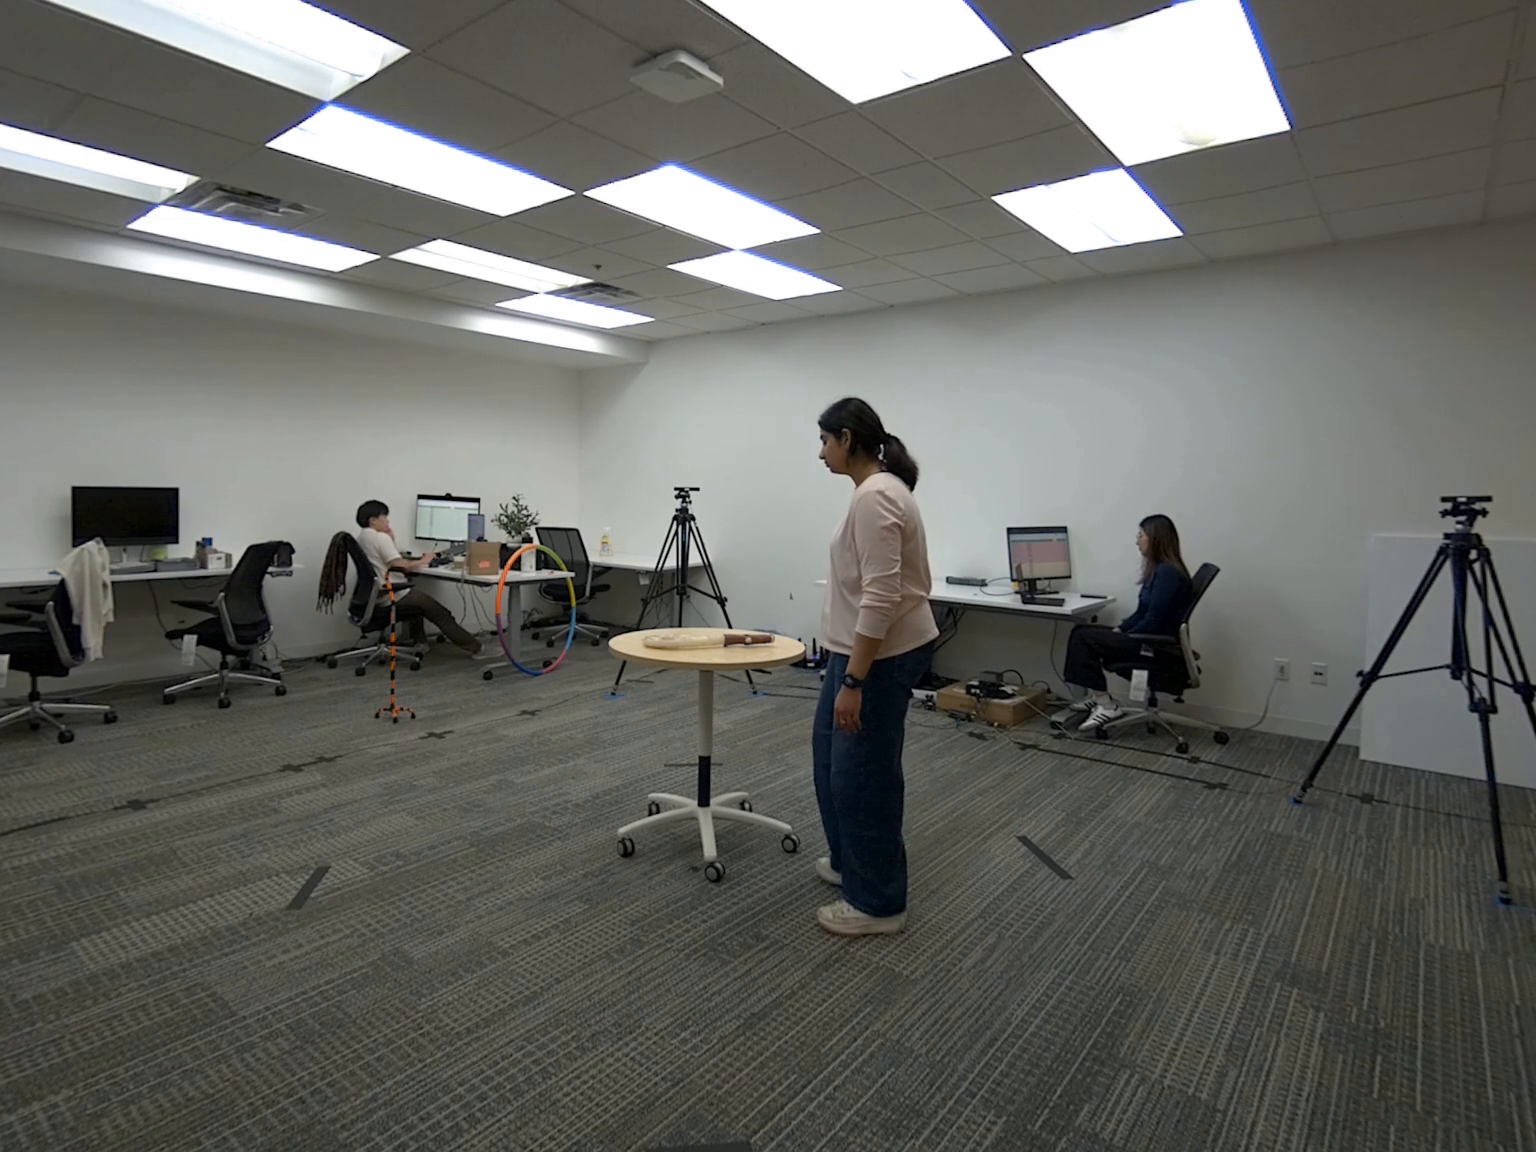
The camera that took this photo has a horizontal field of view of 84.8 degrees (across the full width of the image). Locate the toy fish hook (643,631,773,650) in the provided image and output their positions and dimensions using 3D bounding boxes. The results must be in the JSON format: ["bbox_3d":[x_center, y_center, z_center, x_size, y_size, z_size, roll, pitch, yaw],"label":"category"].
[{"bbox_3d":[-0.231,0.238,3.305,0.501,0.048,0.229,-1,10,-10],"label":"toy fish hook"}]
